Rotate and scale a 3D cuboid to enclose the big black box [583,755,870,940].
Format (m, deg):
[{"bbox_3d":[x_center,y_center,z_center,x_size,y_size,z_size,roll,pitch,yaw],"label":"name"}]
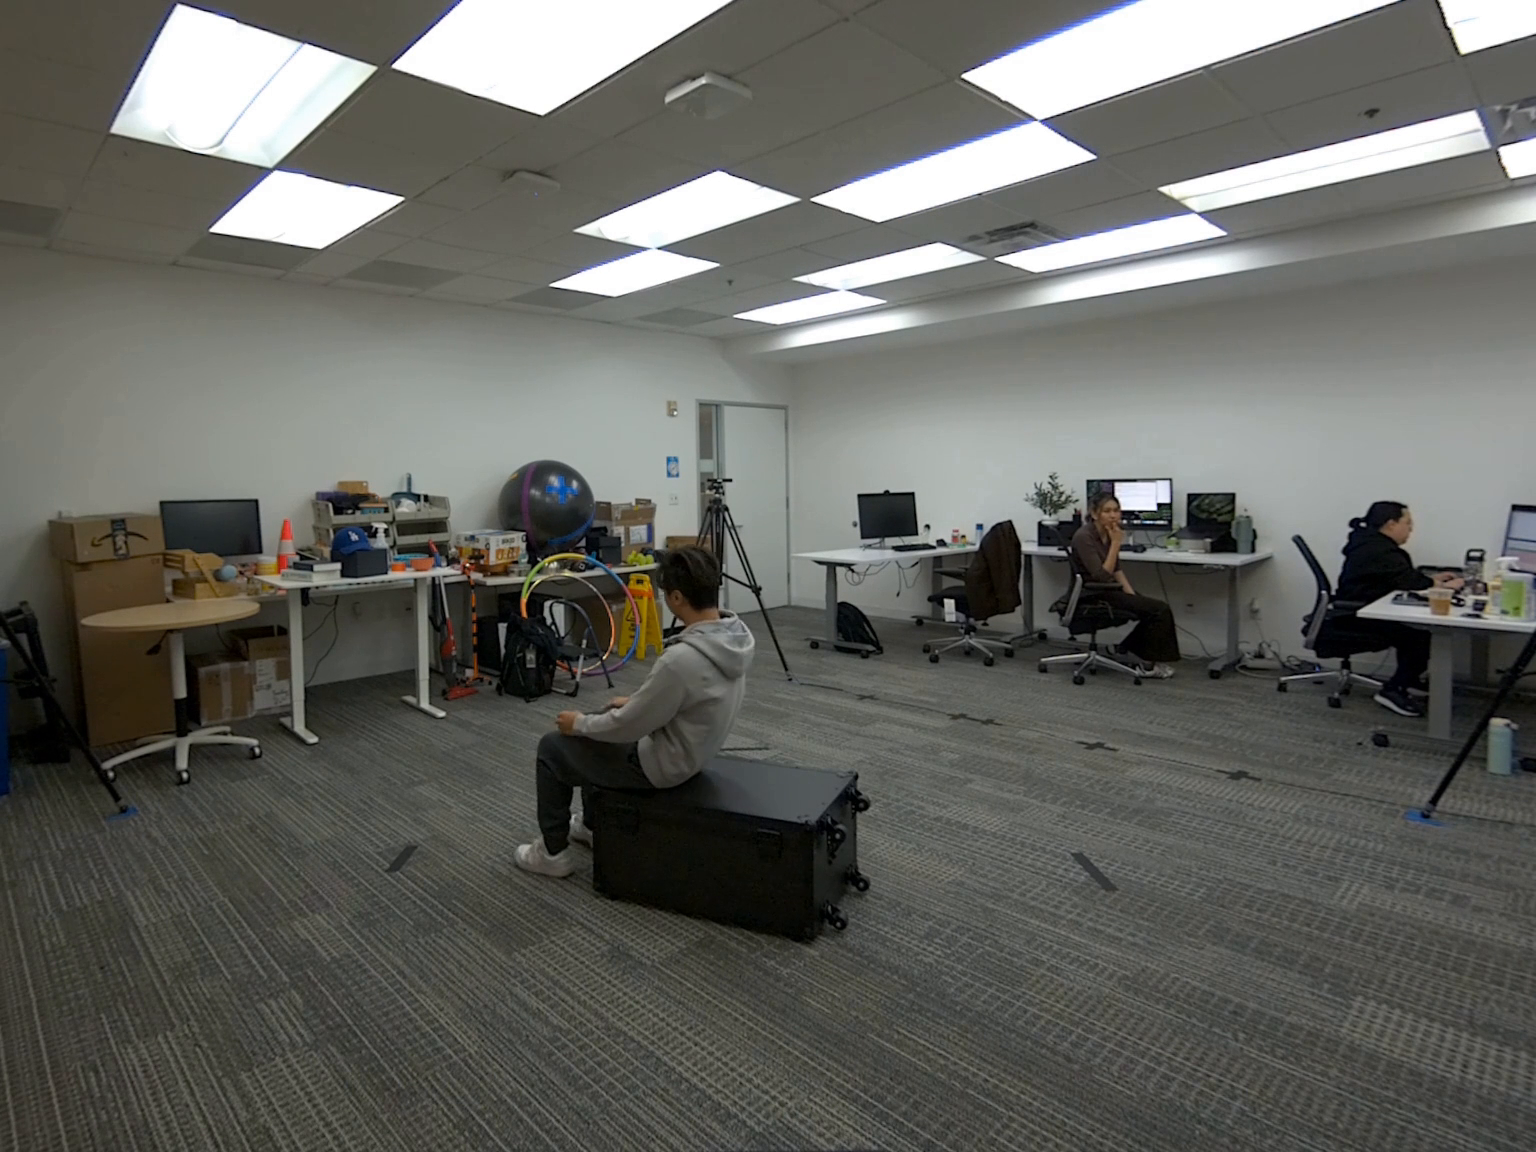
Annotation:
[{"bbox_3d":[-0.162,0.879,2.929,0.881,0.395,0.511,2,6,24],"label":"big black box"}]
